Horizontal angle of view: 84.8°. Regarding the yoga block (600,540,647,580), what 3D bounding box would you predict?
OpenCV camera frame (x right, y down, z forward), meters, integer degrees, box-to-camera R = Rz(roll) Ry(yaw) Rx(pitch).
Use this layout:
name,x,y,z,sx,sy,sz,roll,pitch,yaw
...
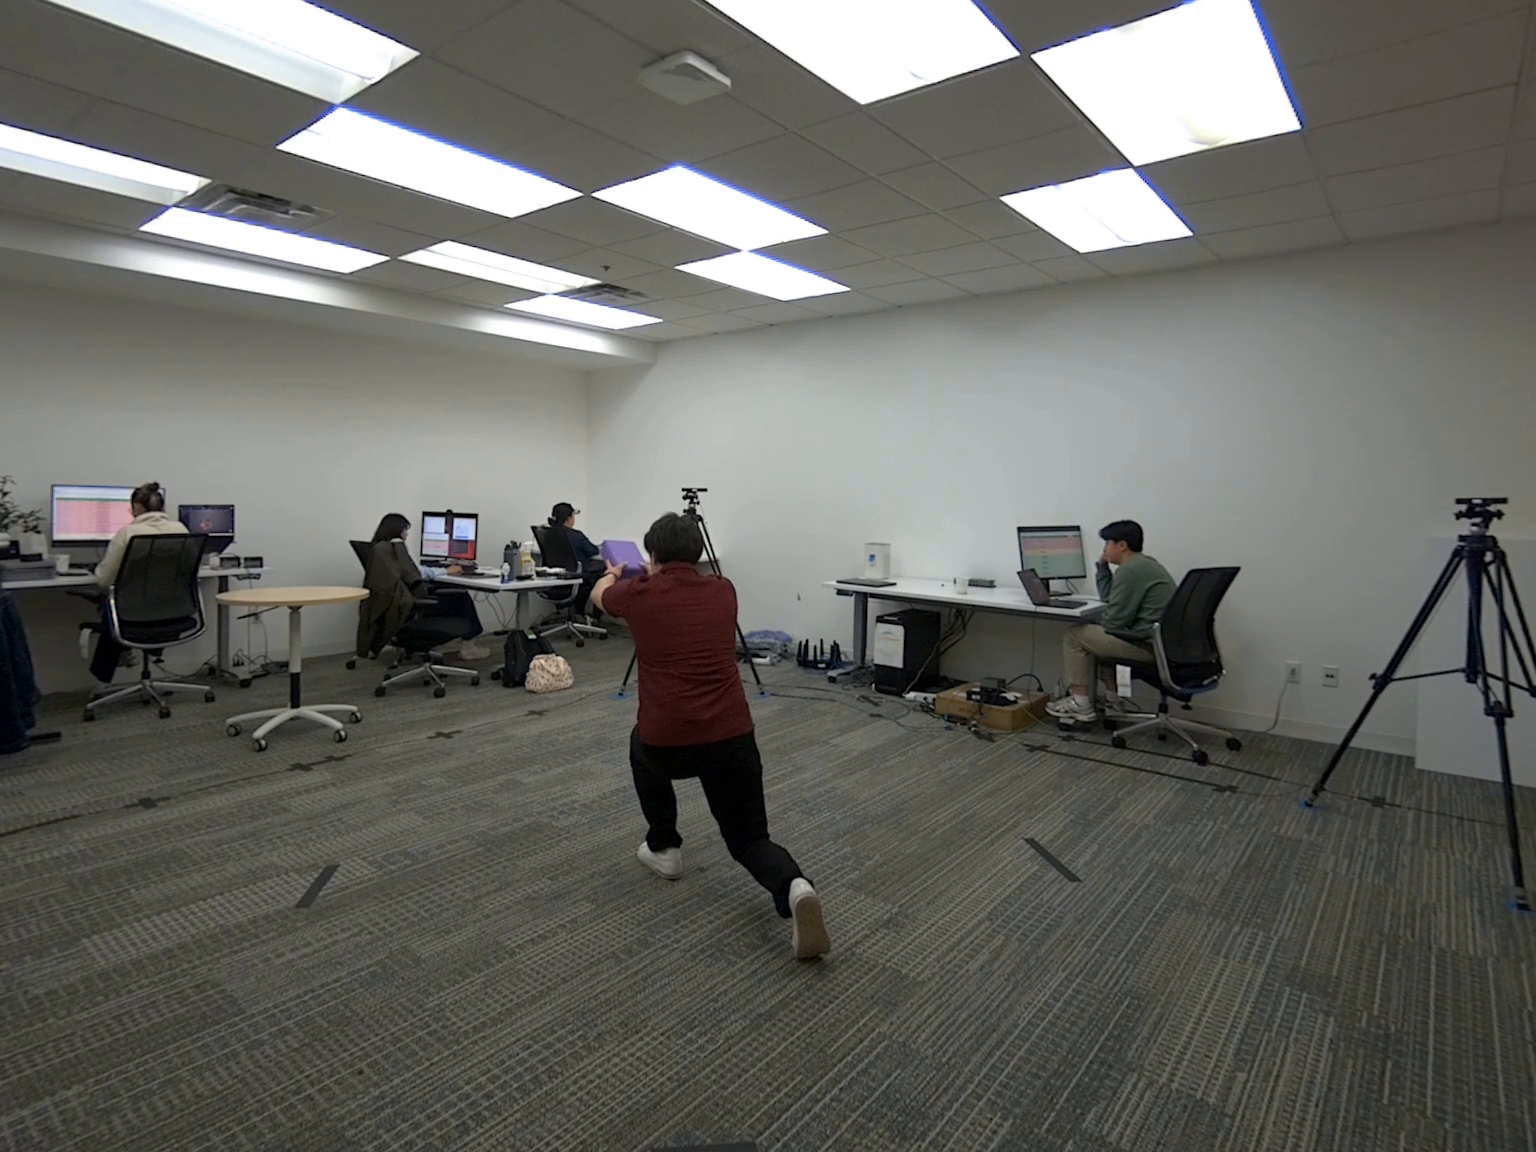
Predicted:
name,x,y,z,sx,sy,sz,roll,pitch,yaw
yoga block,-0.620,-0.069,3.613,0.145,0.075,0.238,2,31,-24
